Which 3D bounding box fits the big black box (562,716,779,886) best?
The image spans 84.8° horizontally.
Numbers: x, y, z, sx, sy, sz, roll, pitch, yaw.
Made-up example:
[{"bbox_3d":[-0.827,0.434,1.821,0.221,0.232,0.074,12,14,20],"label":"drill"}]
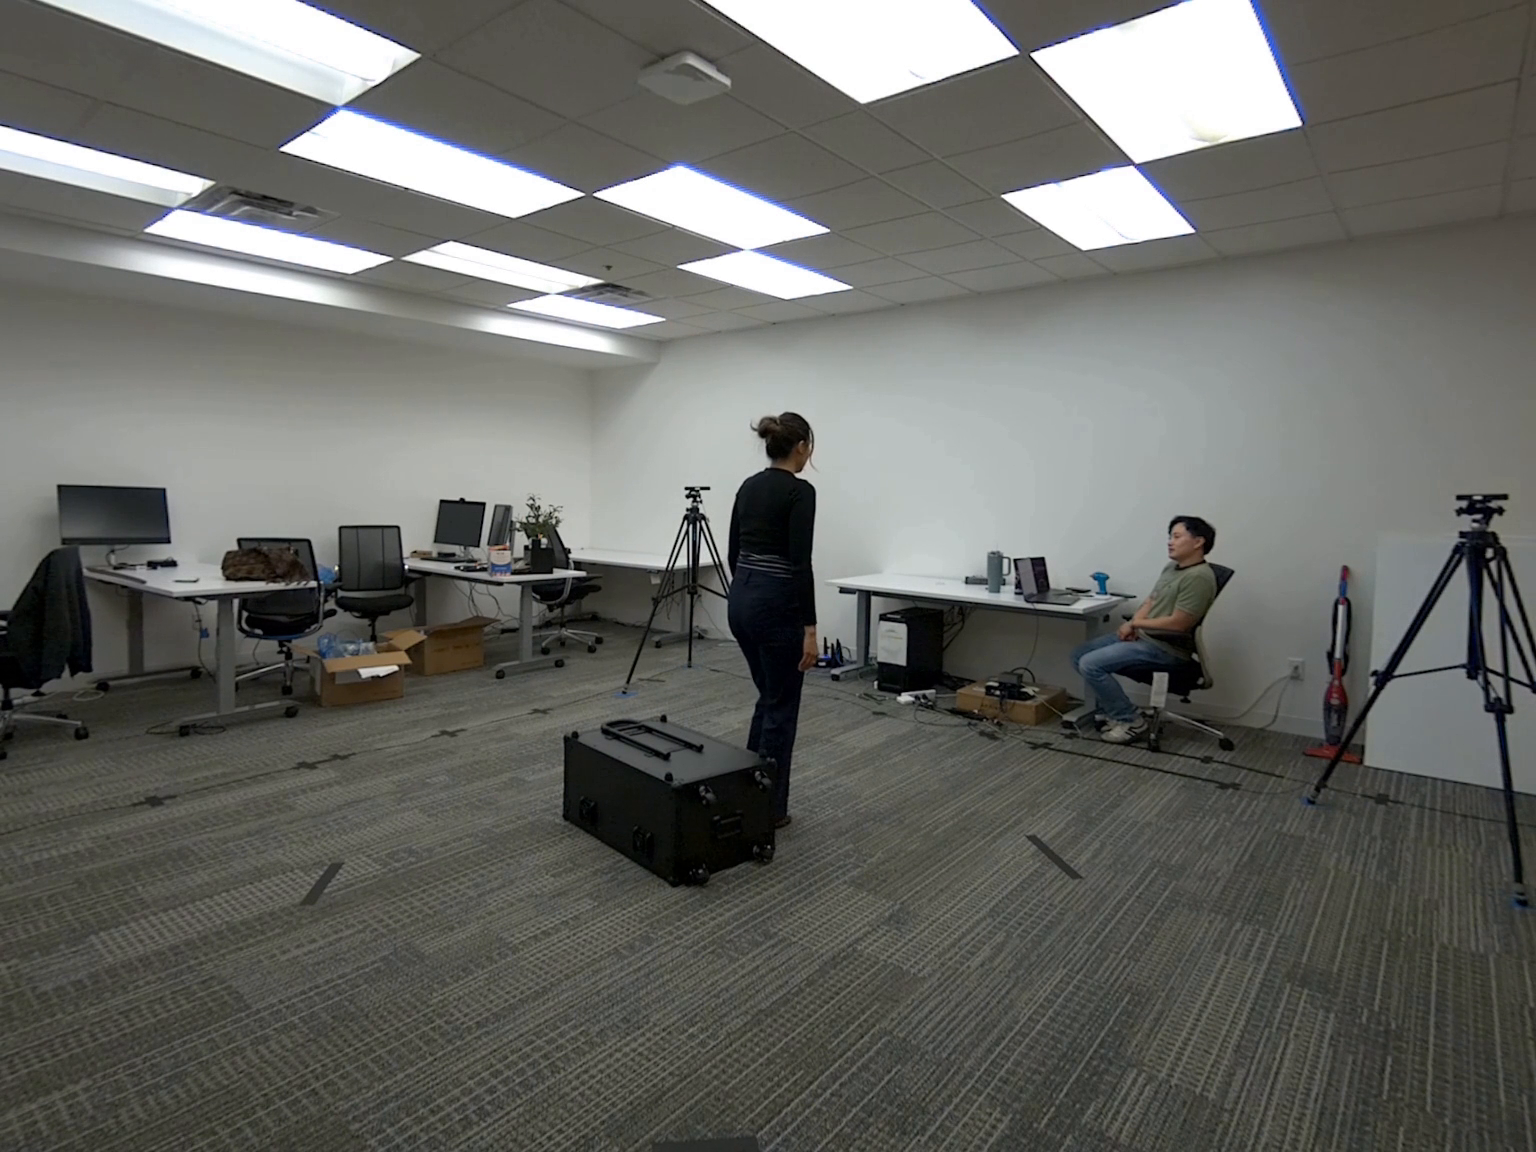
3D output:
[{"bbox_3d":[-0.439,0.856,3.411,0.506,0.395,0.891,-3,7,-41],"label":"big black box"}]
